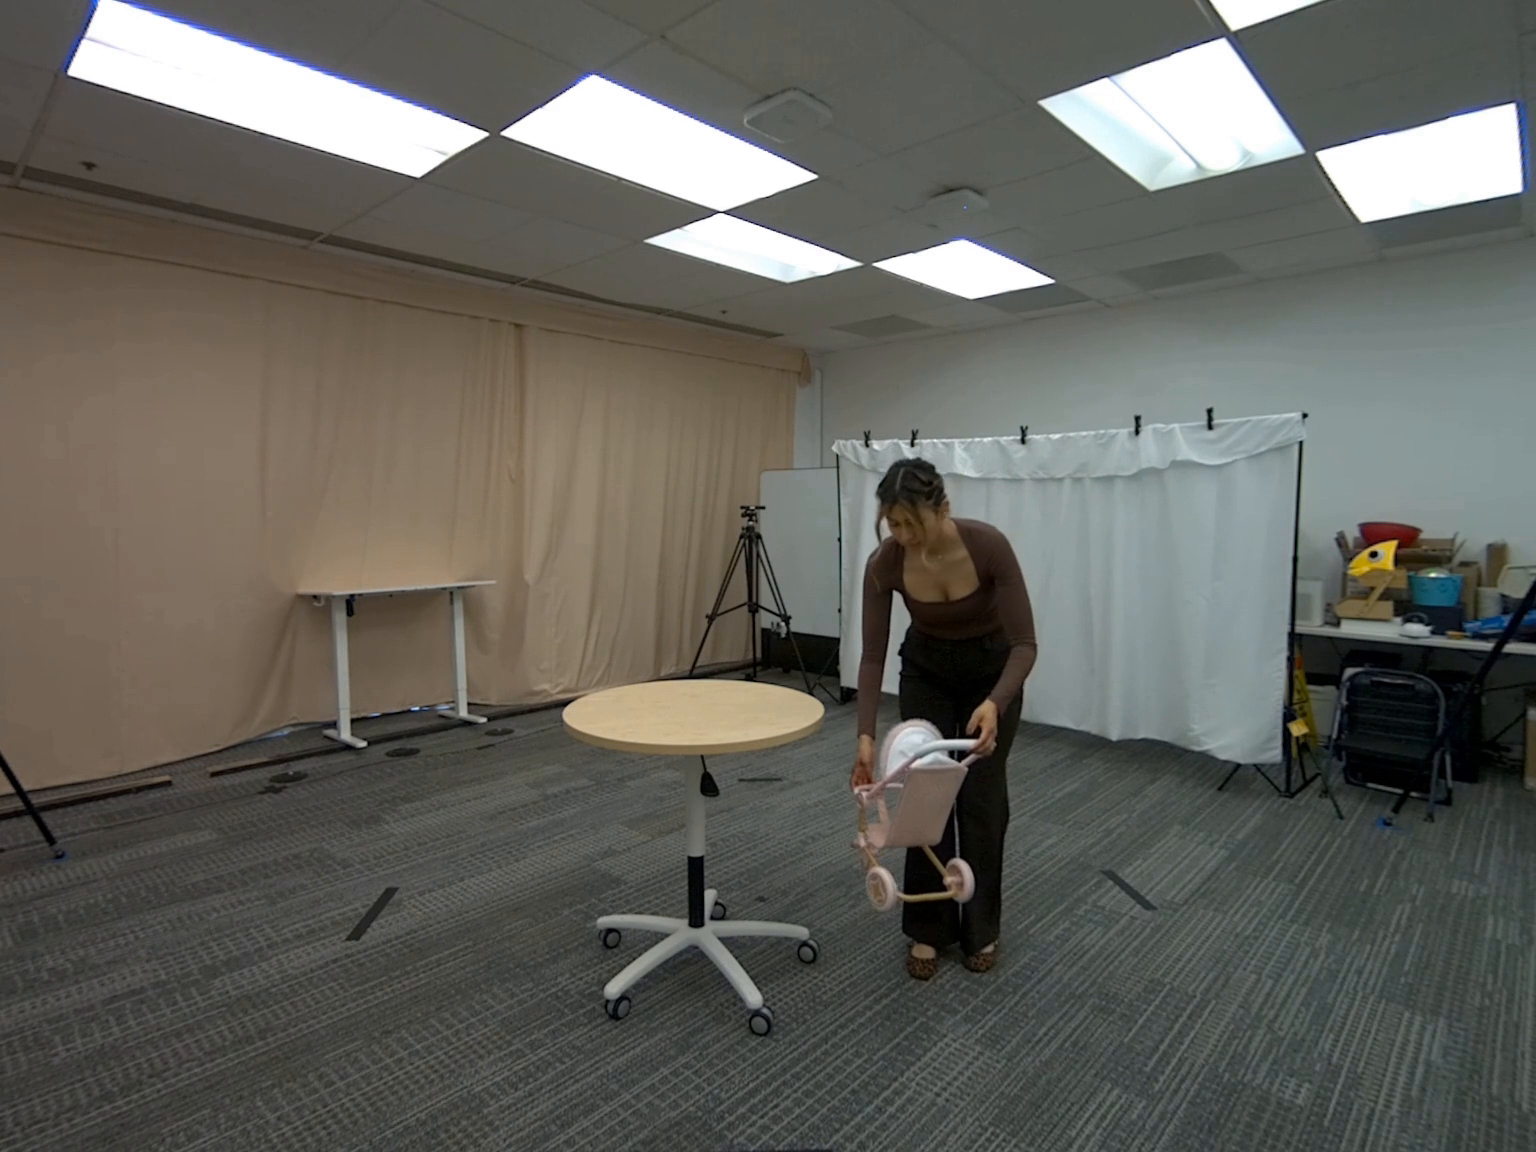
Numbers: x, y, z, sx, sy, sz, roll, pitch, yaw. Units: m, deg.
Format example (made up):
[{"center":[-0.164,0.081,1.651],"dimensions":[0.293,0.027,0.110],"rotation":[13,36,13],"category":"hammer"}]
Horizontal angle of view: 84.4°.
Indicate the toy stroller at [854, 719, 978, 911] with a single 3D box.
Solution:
[{"center":[0.384,0.626,2.291],"dimensions":[0.276,0.532,0.350],"rotation":[4,10,-19],"category":"toy stroller"}]
